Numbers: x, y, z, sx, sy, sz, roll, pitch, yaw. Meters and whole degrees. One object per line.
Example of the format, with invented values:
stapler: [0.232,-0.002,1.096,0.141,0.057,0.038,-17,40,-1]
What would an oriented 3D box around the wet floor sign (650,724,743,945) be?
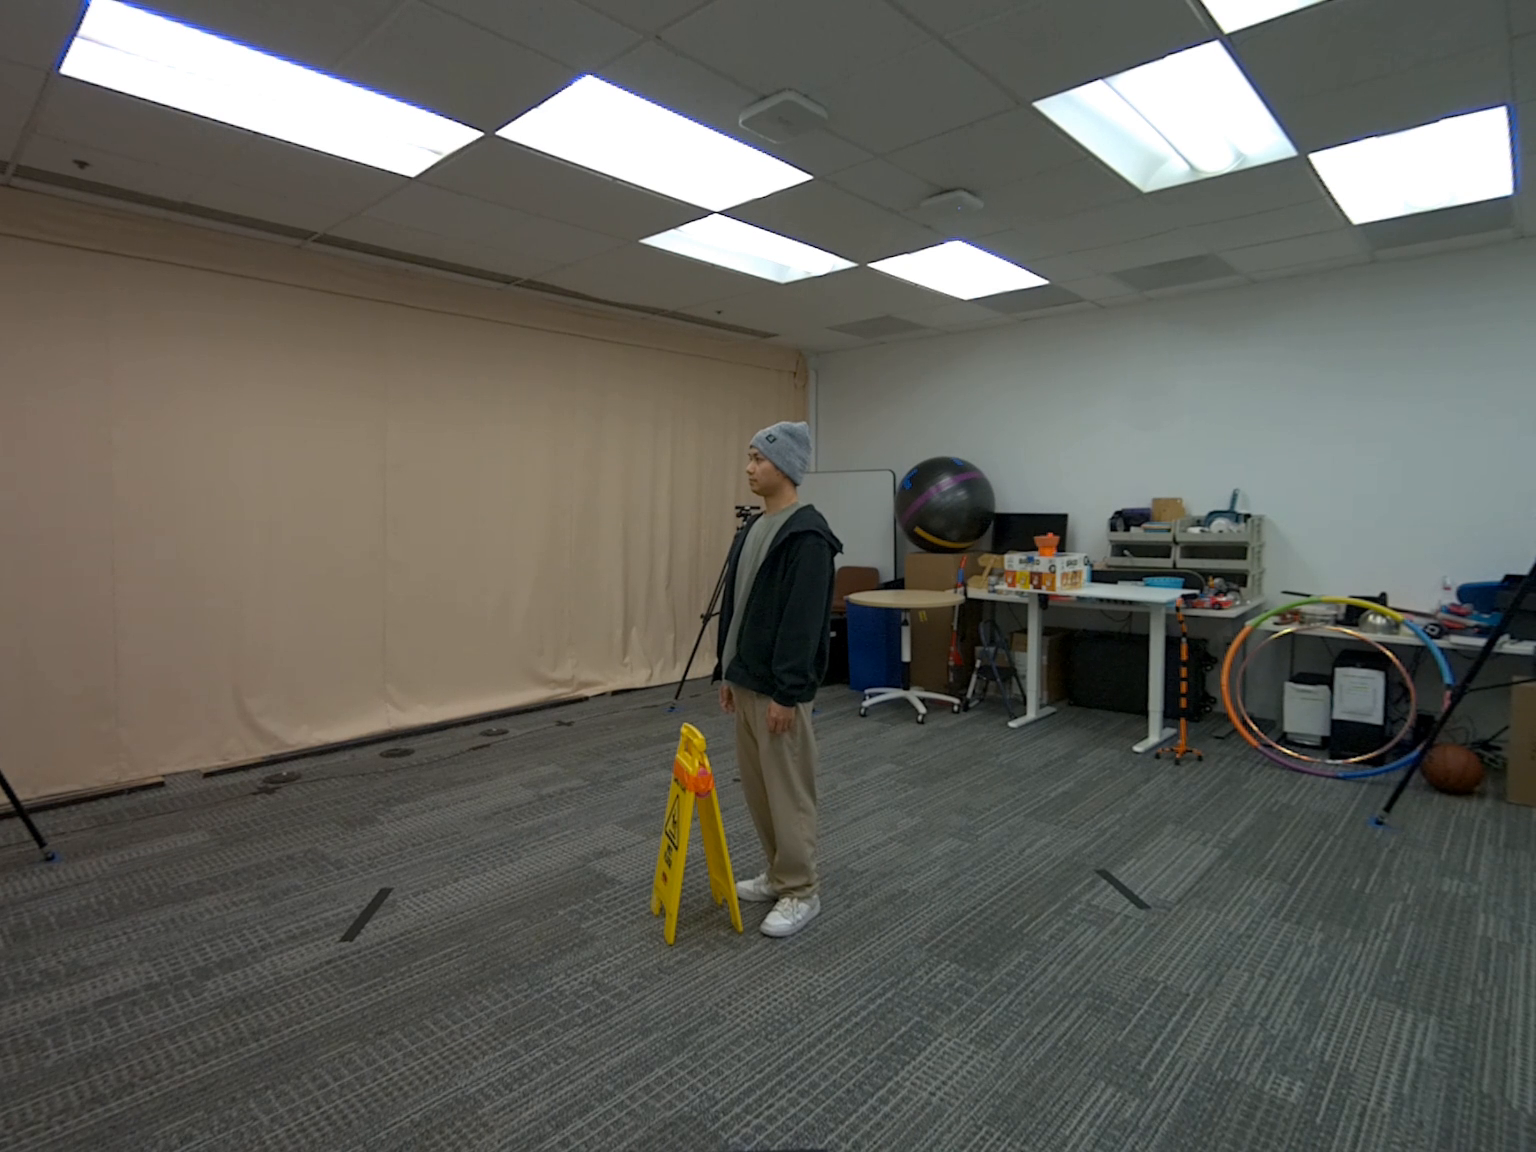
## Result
wet floor sign: [-0.247,0.833,2.816,0.284,0.645,0.288,-3,2,-19]
